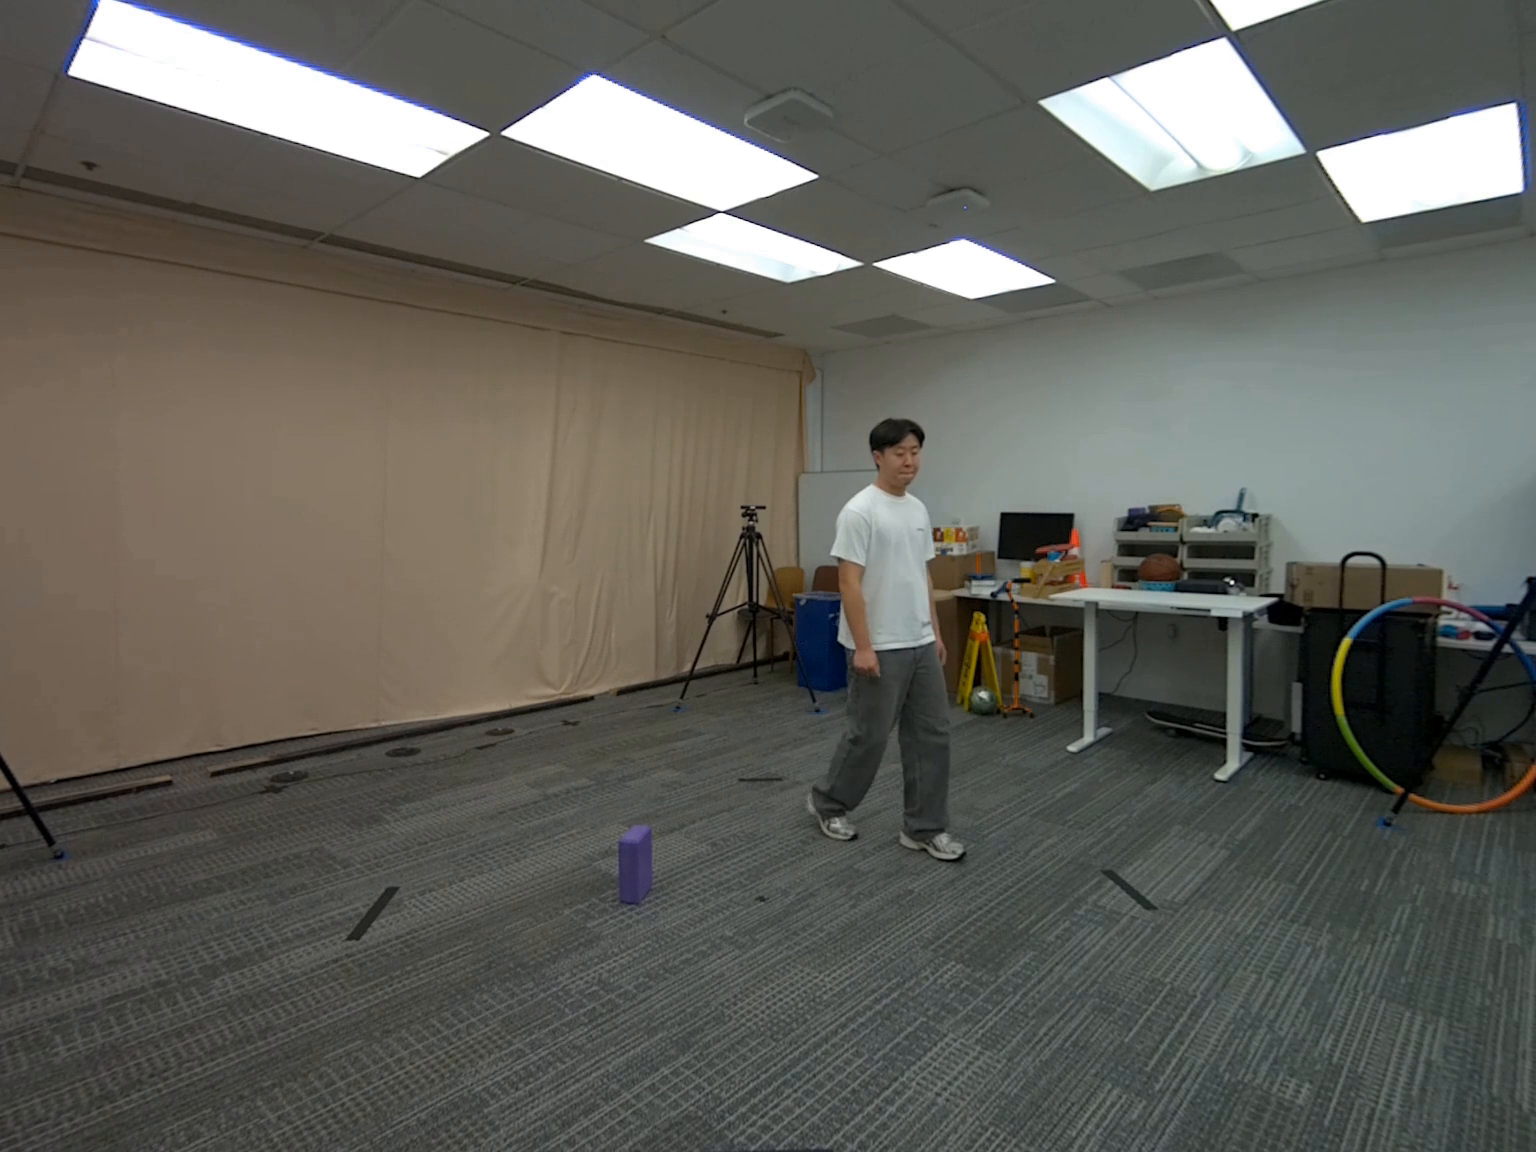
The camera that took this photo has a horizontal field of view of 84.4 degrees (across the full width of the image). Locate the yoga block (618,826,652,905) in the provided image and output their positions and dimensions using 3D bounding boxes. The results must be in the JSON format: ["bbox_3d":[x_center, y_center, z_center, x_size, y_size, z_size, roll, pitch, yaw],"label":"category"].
[{"bbox_3d":[-0.468,1.032,3.007,0.077,0.229,0.147,0,3,13],"label":"yoga block"}]
